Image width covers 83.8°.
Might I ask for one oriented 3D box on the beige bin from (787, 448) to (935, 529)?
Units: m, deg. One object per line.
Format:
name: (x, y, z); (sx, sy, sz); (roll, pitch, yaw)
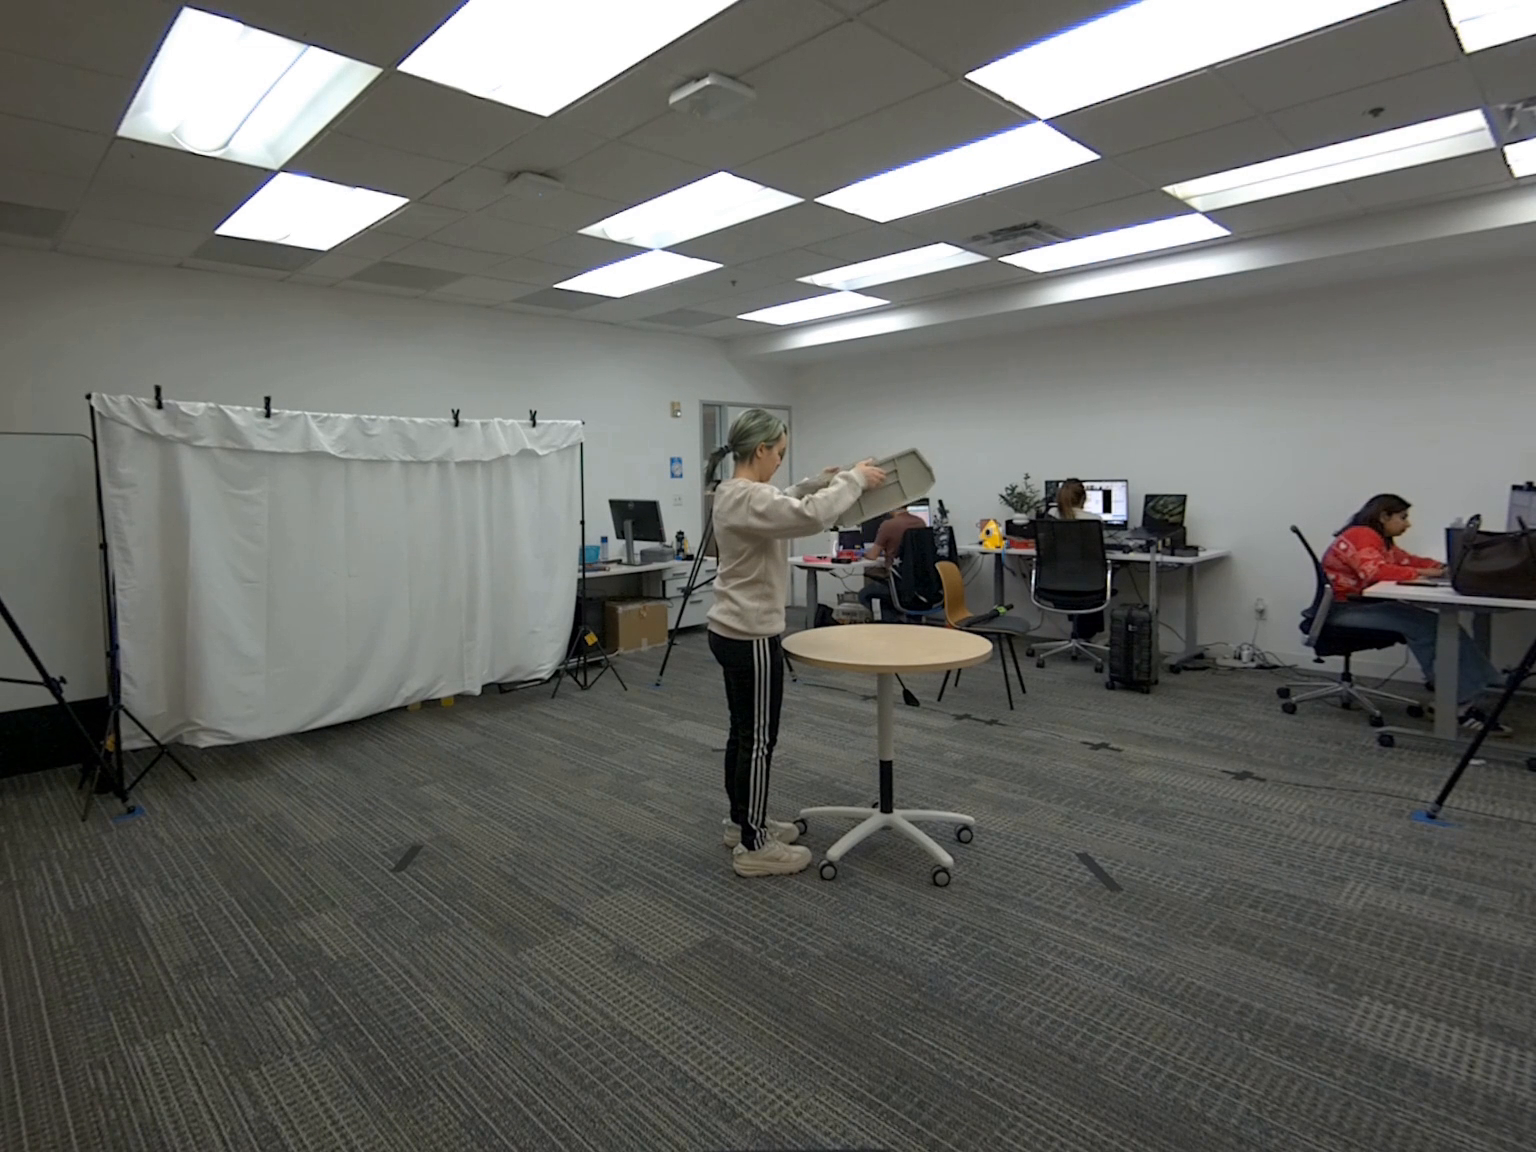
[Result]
beige bin: (0.359, -0.315, 3.155); (0.375, 0.187, 0.428); (-23, 9, -9)
